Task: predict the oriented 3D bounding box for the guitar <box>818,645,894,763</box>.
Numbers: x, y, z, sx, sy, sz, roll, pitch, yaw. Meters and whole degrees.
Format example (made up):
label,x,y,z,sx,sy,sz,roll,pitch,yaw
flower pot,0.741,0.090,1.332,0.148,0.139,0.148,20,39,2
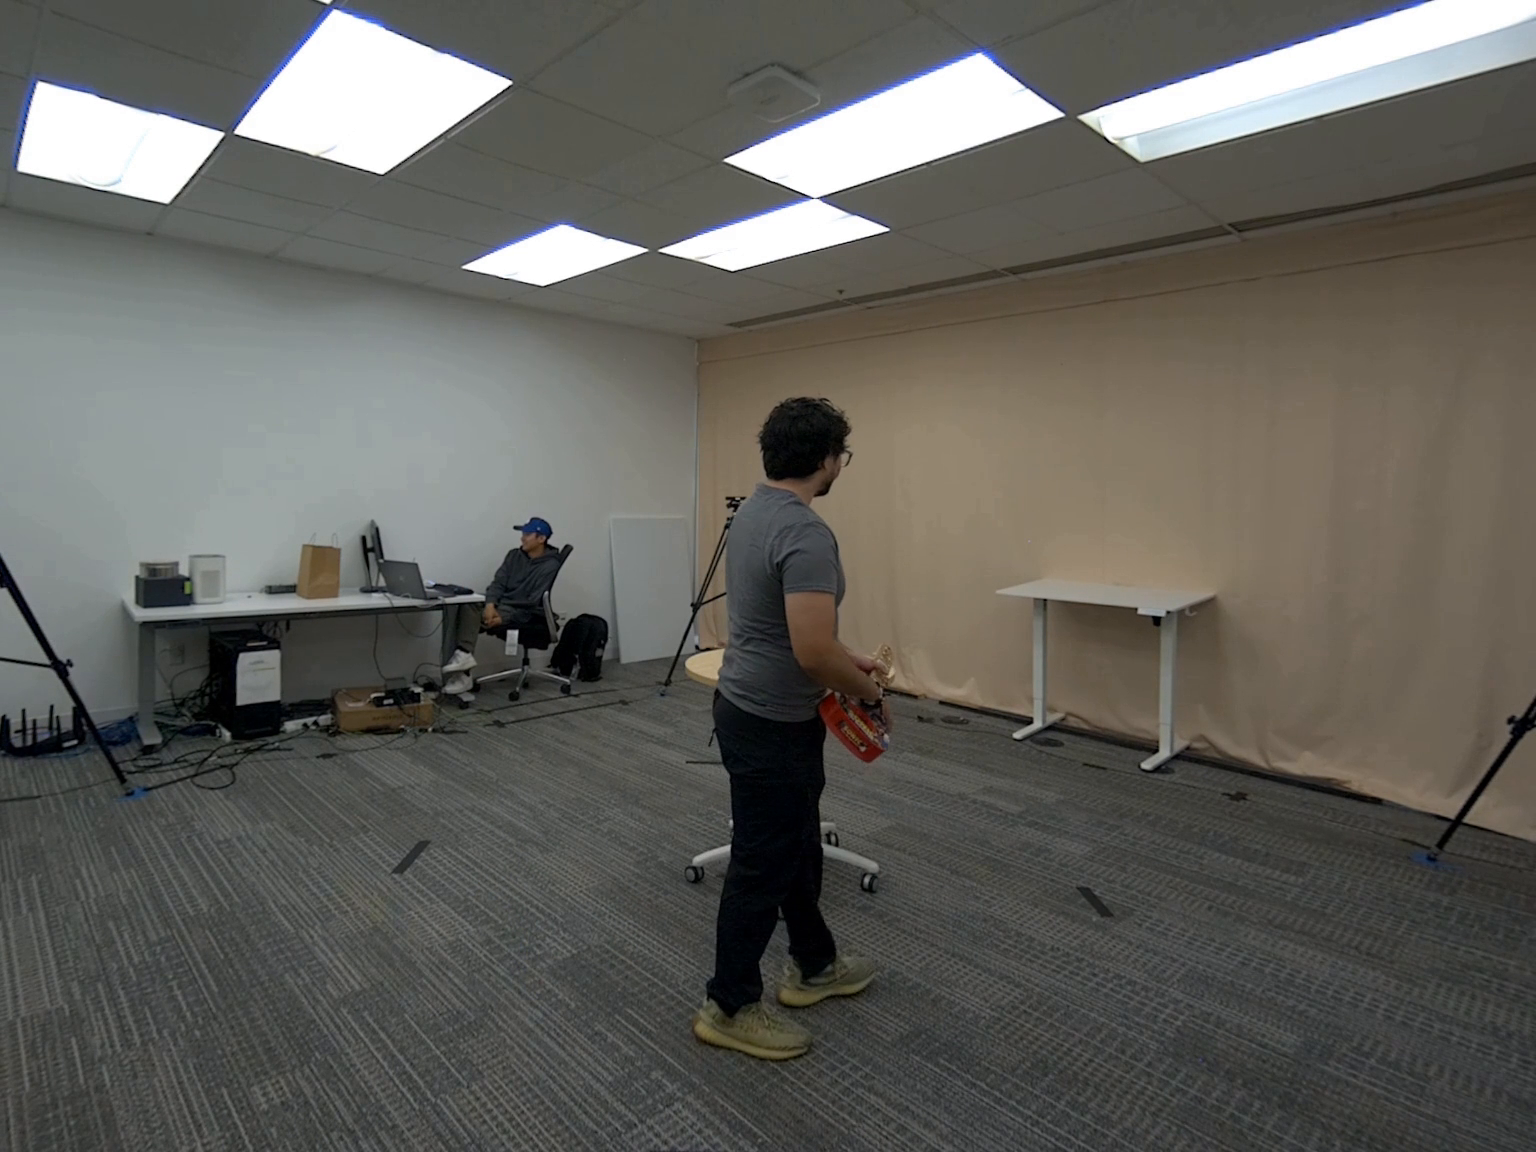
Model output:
label,x,y,z,sx,sy,sz,roll,pitch,yaw
guitar,0.277,0.329,2.235,0.071,0.195,0.492,-44,-8,25
